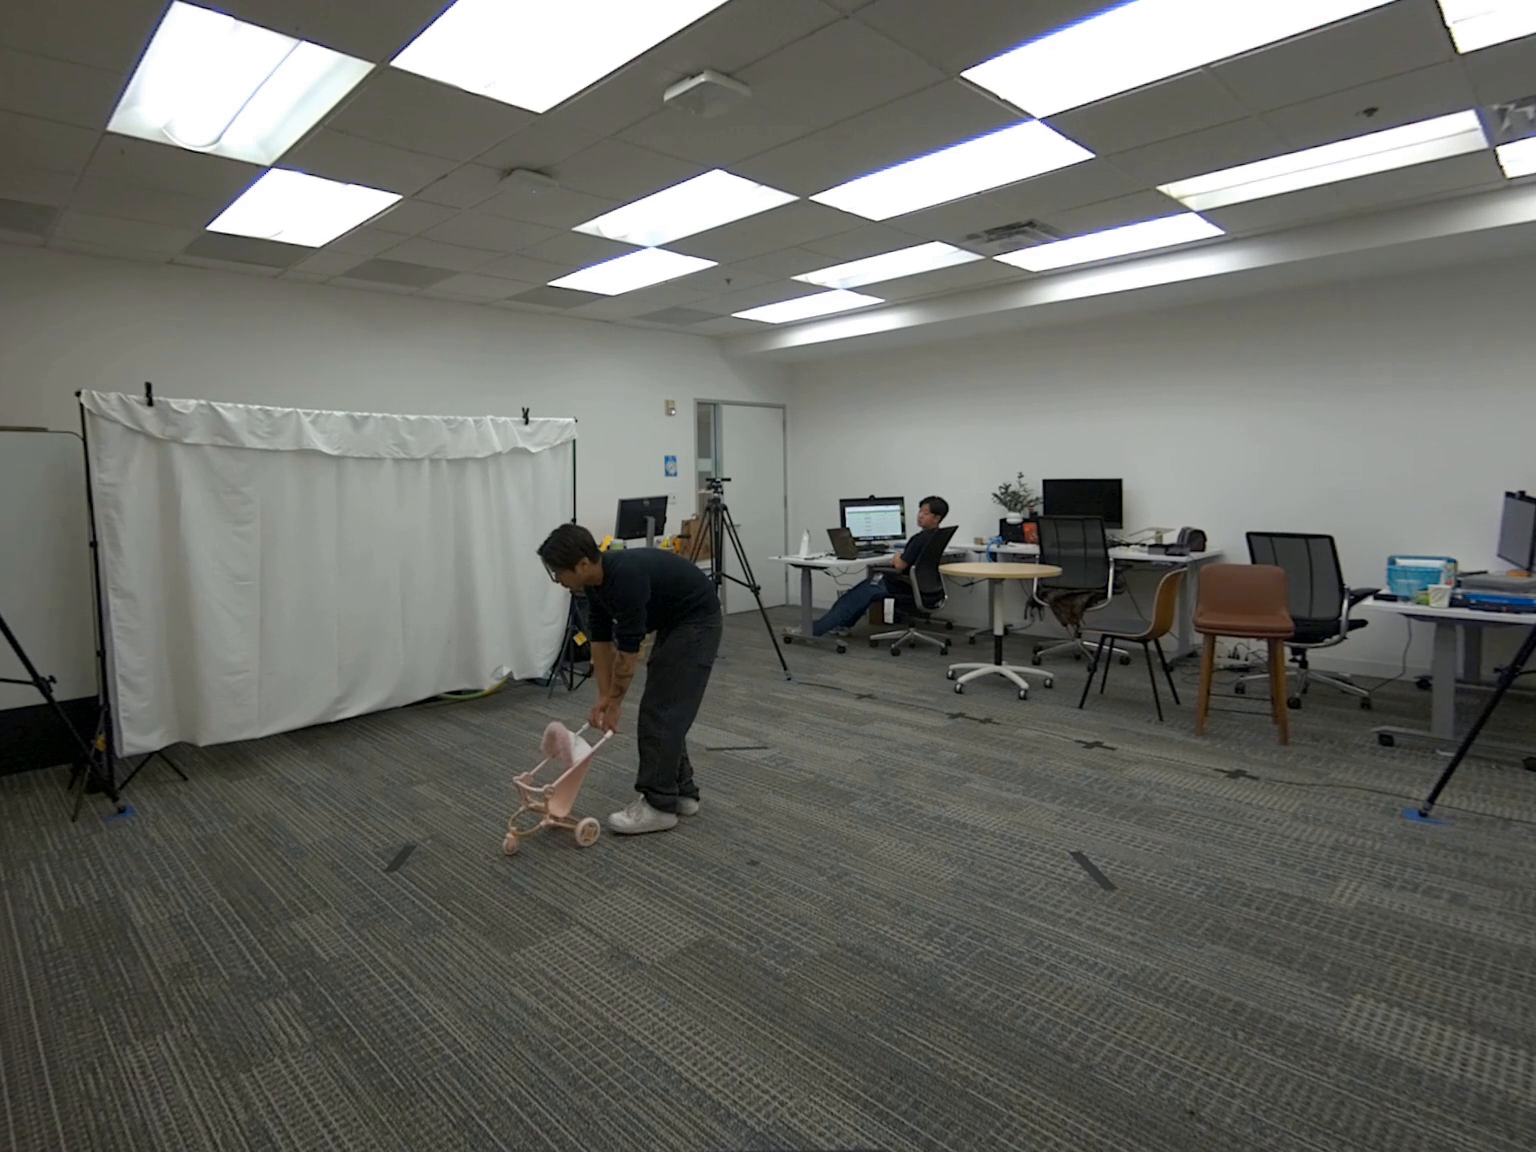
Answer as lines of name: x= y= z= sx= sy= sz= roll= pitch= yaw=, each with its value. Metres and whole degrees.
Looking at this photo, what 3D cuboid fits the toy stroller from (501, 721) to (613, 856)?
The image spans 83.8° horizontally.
toy stroller: x=-0.837 y=0.808 z=3.313 sx=0.330 sy=0.537 sz=0.289 roll=16 pitch=-7 yaw=-35
